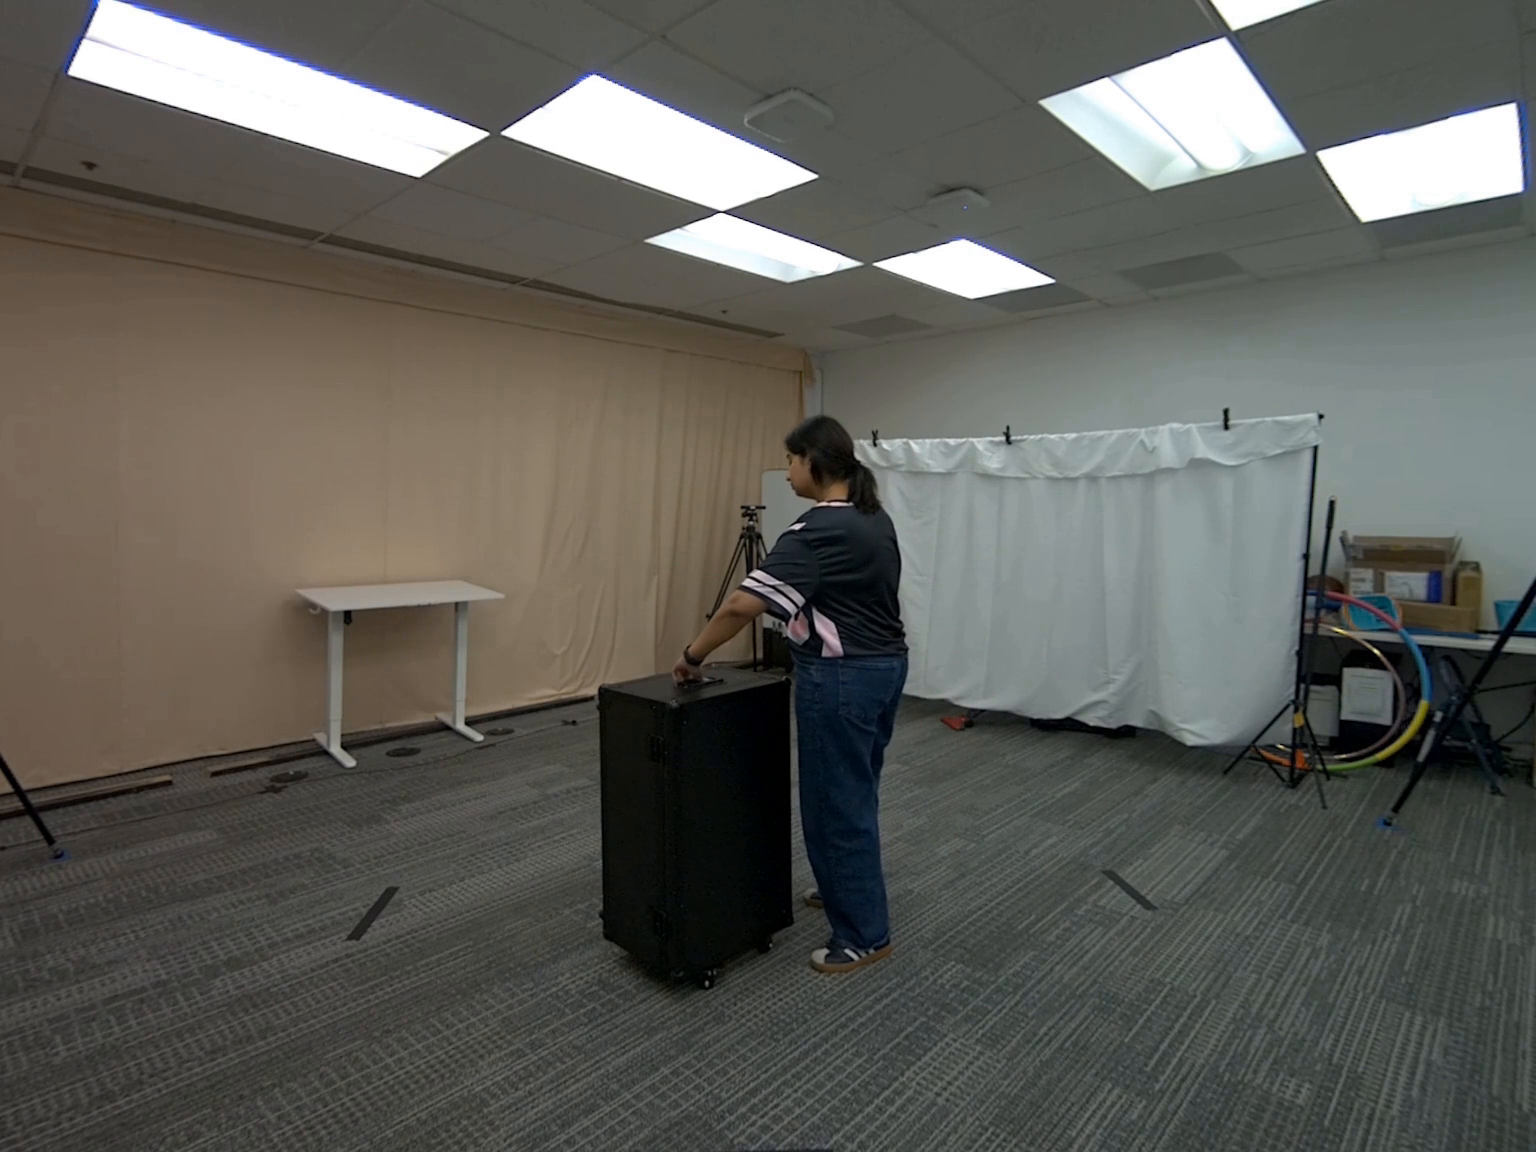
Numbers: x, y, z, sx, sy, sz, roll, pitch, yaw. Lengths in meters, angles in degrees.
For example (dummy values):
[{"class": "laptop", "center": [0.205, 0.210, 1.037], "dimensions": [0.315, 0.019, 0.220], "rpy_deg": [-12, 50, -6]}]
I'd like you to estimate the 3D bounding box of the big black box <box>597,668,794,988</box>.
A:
[{"class": "big black box", "center": [-0.225, 0.757, 2.599], "dimensions": [0.398, 0.867, 0.507], "rpy_deg": [2, 3, 44]}]
